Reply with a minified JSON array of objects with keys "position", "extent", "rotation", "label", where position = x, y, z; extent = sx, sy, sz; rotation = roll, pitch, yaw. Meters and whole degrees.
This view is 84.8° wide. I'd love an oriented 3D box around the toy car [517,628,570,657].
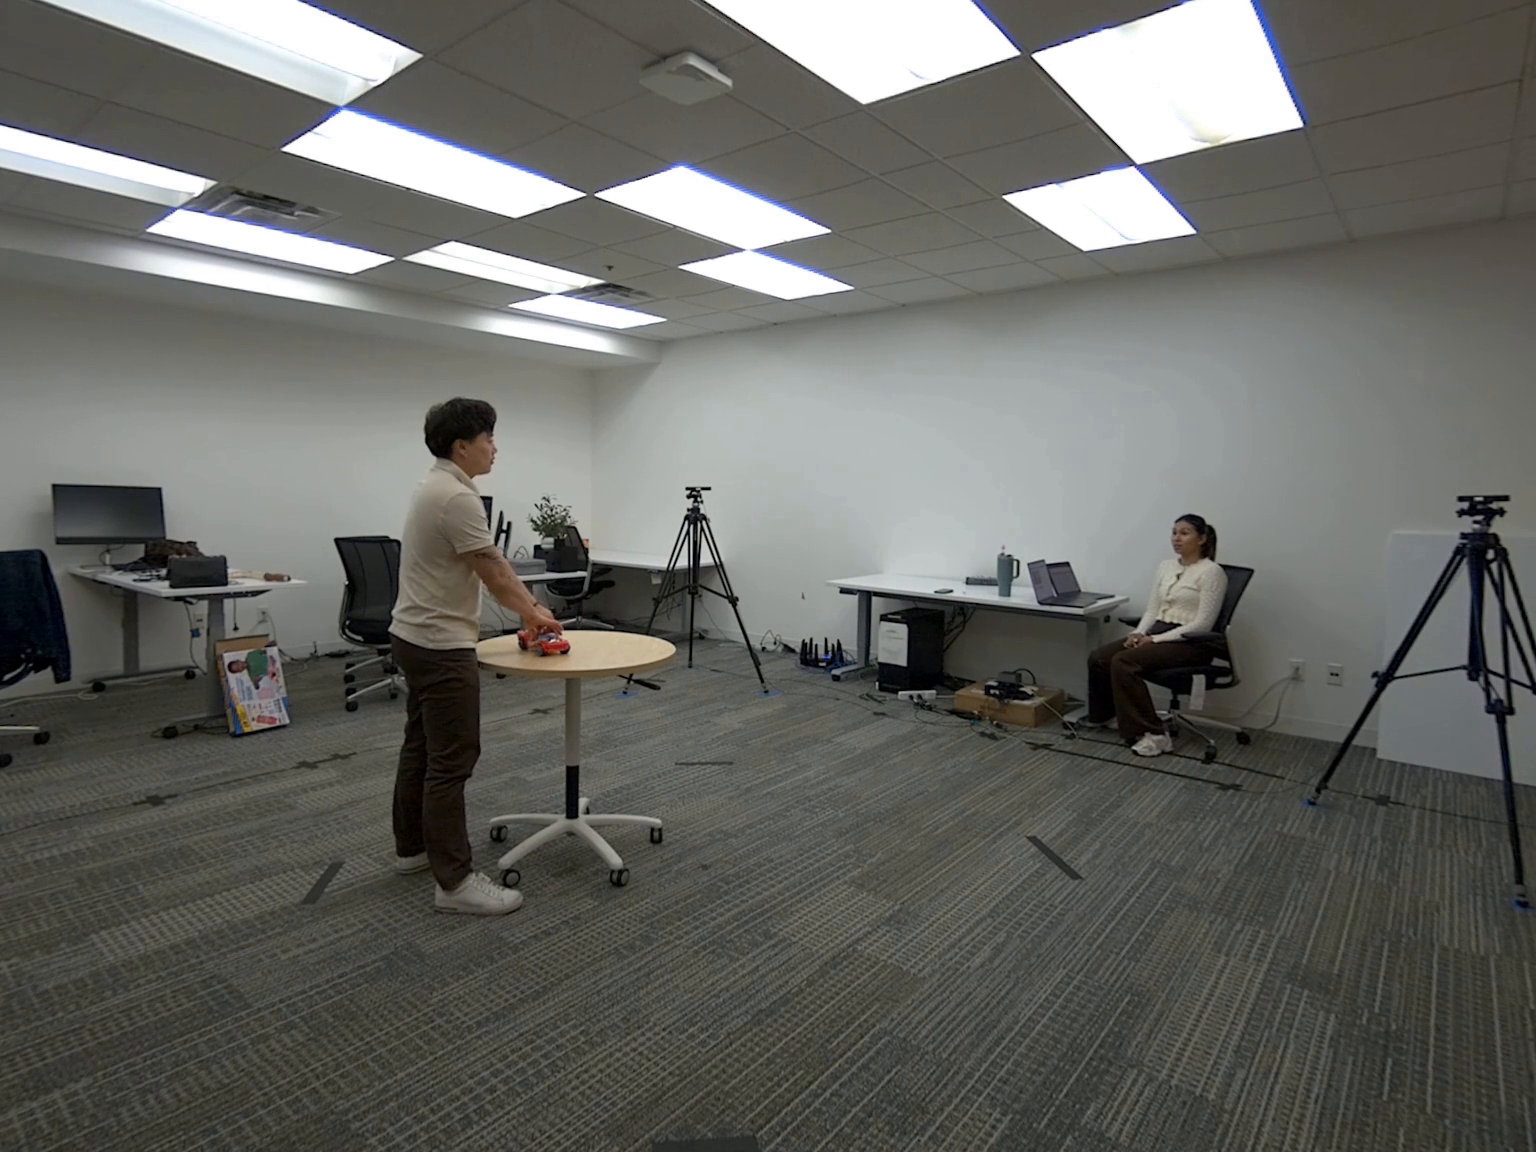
[{"position":[-0.850,0.244,3.115],"extent":[0.126,0.082,0.265],"rotation":[-3,17,-40],"label":"toy car"}]
